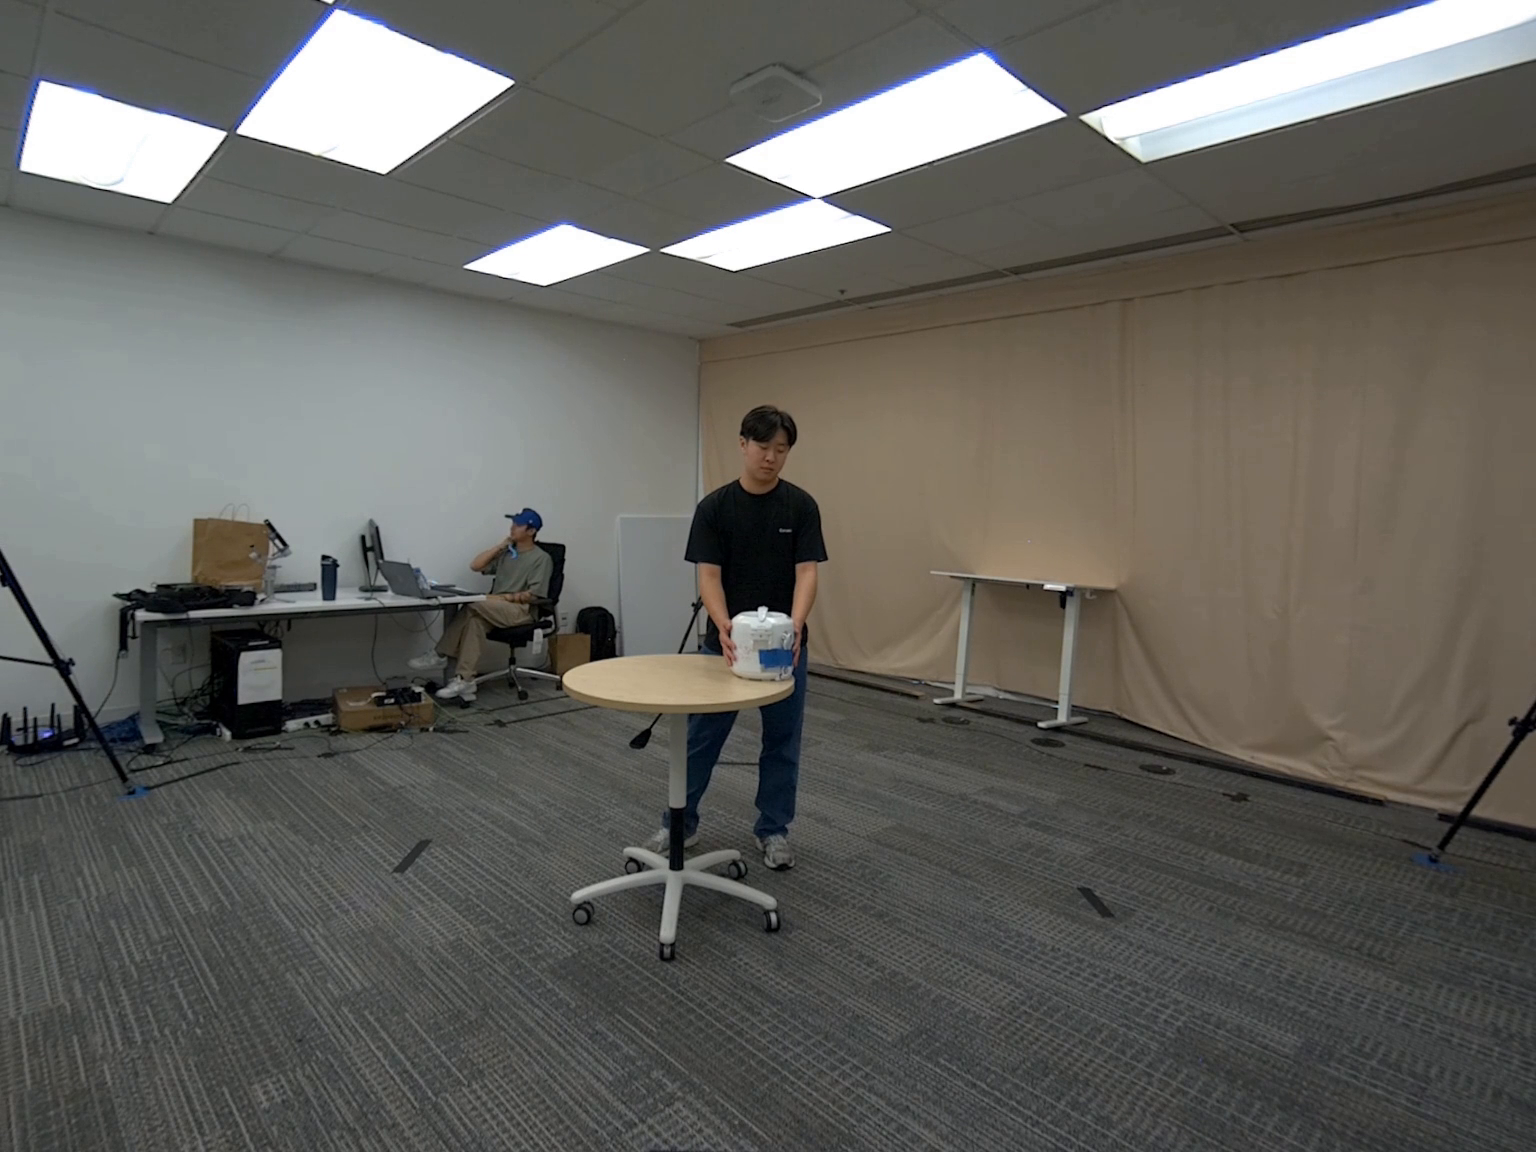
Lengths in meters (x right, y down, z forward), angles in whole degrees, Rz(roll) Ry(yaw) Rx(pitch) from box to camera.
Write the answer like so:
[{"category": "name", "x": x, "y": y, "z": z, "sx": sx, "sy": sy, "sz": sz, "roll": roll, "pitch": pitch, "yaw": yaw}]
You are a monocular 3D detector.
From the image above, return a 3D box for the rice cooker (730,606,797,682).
[{"category": "rice cooker", "x": -0.029, "y": 0.222, "z": 2.817, "sx": 0.218, "sy": 0.232, "sz": 0.220, "roll": 1, "pitch": 4, "yaw": 2}]
